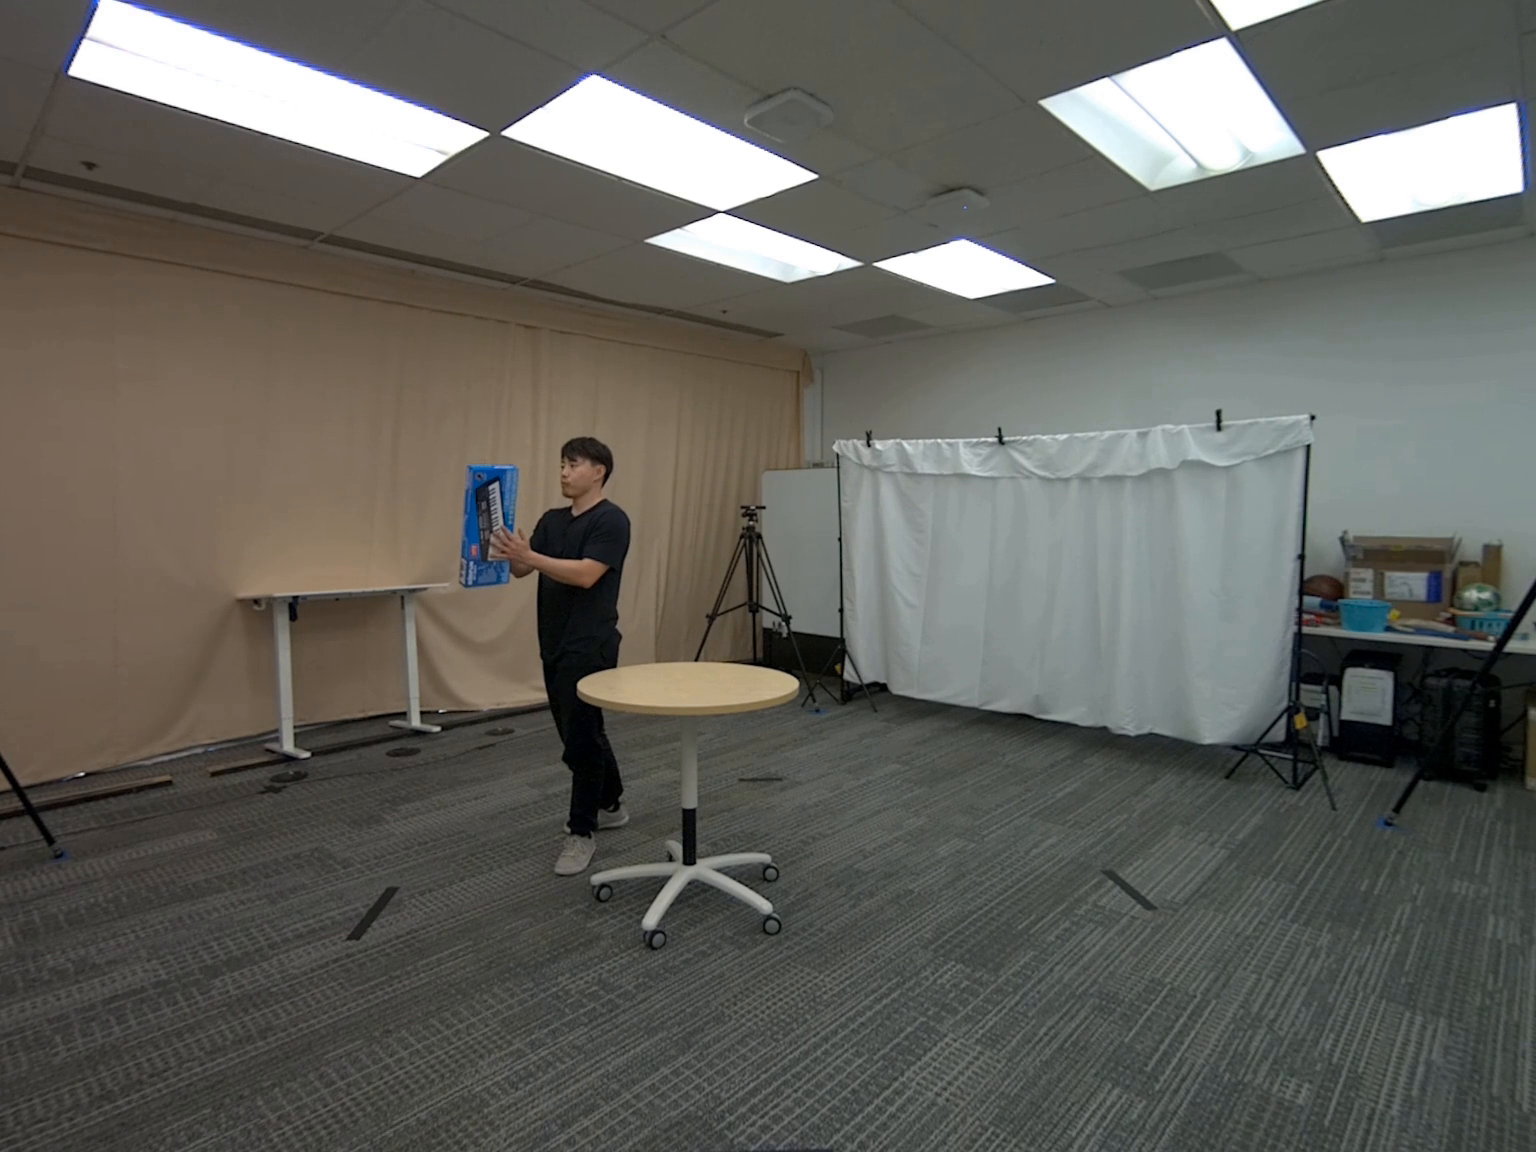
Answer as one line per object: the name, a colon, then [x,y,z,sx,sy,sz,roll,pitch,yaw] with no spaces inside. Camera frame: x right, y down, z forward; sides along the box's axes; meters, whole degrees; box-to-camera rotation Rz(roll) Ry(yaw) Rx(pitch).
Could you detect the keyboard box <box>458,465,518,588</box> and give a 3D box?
keyboard box: [-1.001,-0.176,3.018,0.171,0.433,0.061,-6,22,-42]
